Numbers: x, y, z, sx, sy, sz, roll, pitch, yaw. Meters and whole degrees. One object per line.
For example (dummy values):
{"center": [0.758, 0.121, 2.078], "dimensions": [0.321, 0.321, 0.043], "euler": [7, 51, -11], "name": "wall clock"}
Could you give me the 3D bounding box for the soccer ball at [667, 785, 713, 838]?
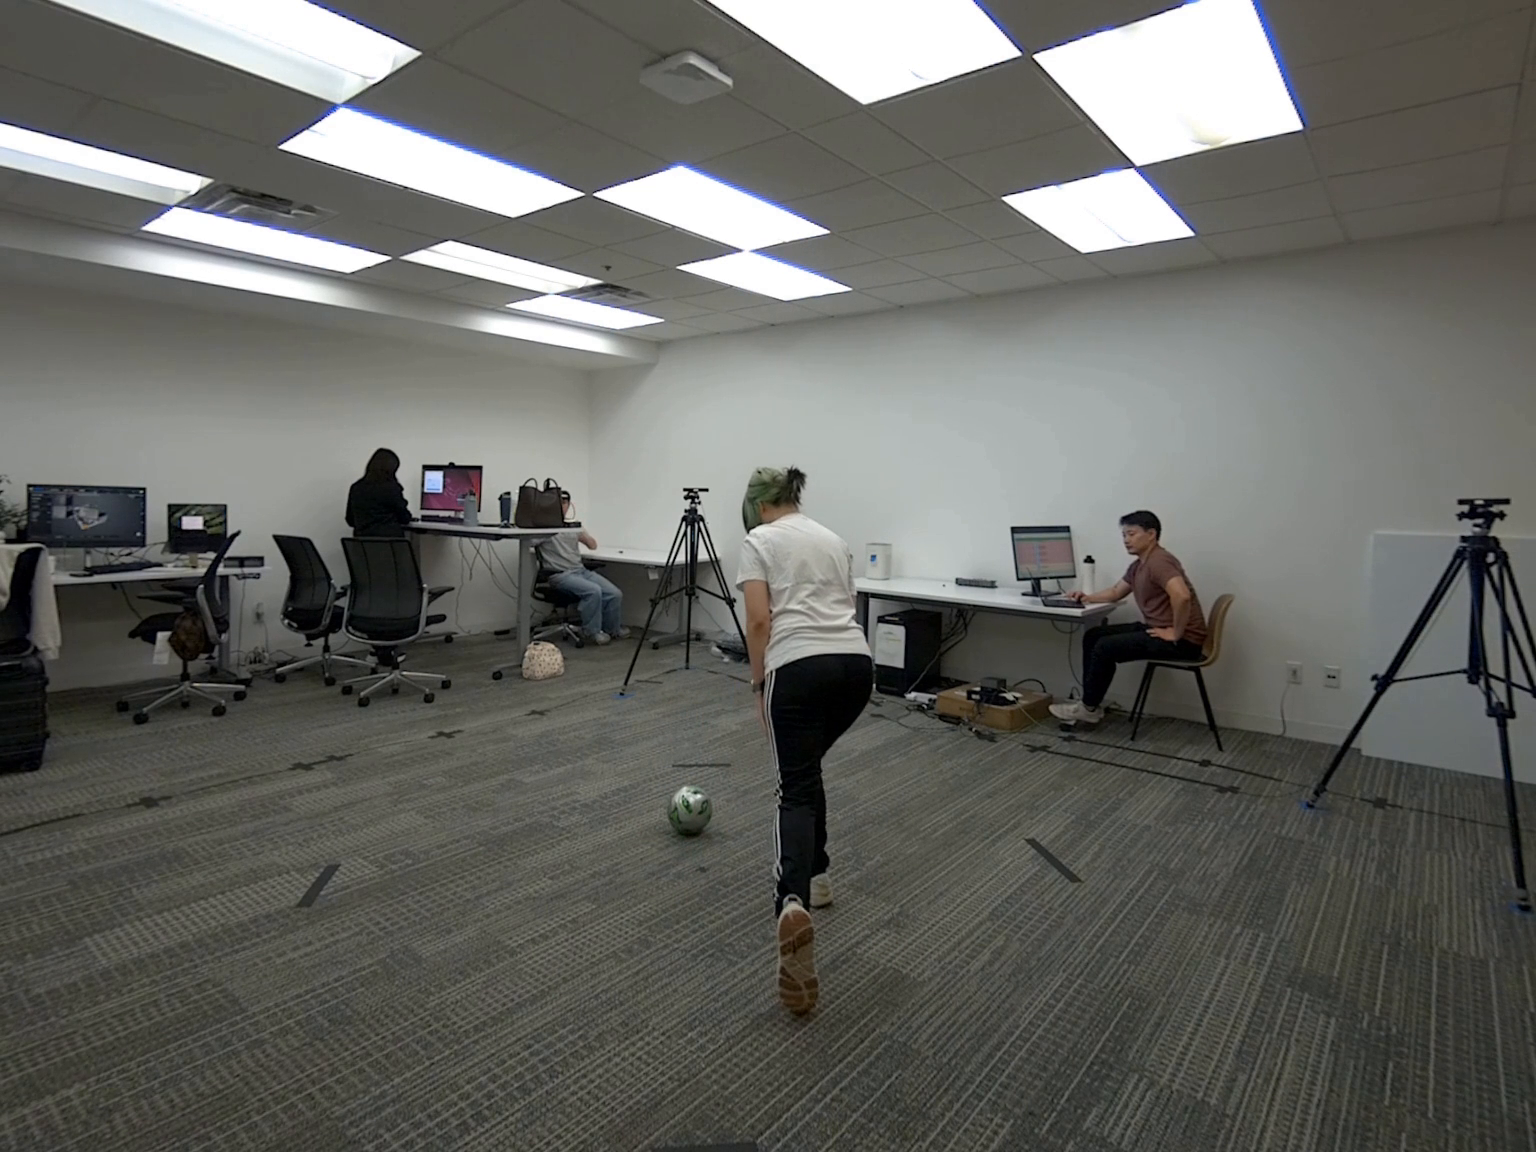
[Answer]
{"center": [-0.329, 0.943, 3.441], "dimensions": [0.187, 0.187, 0.188], "euler": [1, 4, -2], "name": "soccer ball"}
